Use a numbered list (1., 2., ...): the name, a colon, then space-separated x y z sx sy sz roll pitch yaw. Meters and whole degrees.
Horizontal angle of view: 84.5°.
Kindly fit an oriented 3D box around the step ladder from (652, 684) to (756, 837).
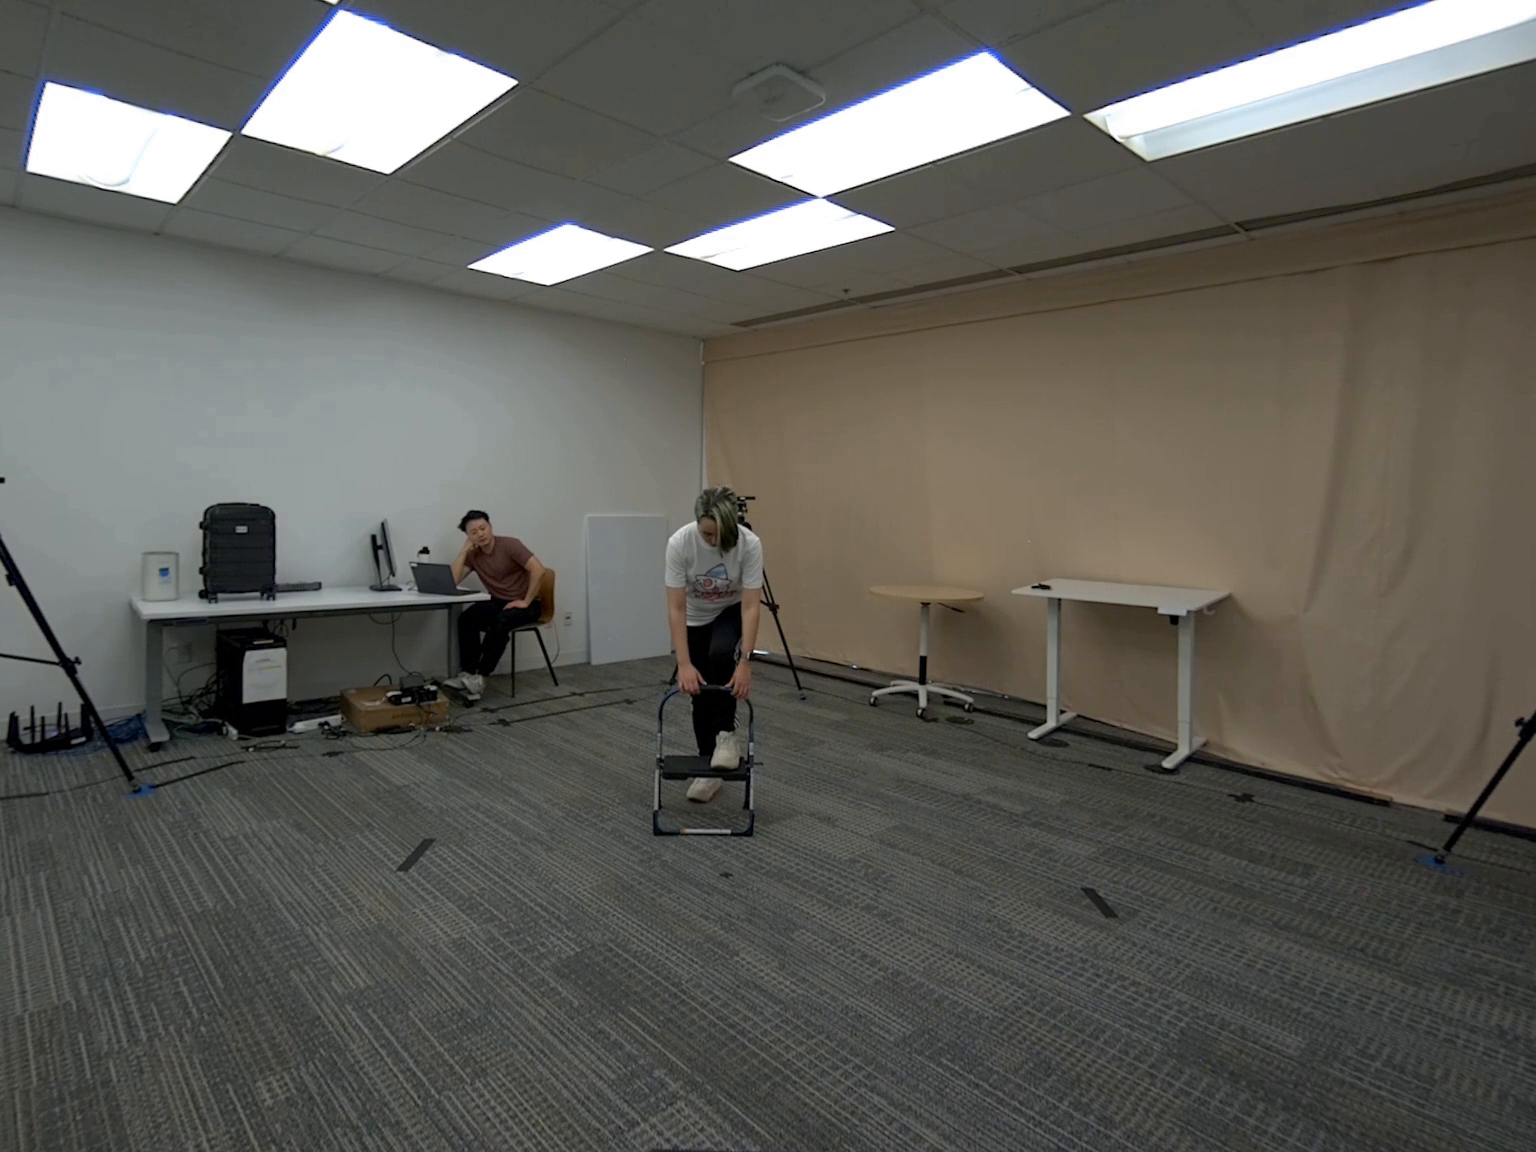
1. step ladder: -0.283 0.760 3.617 0.429 0.605 0.351 1 3 -4
